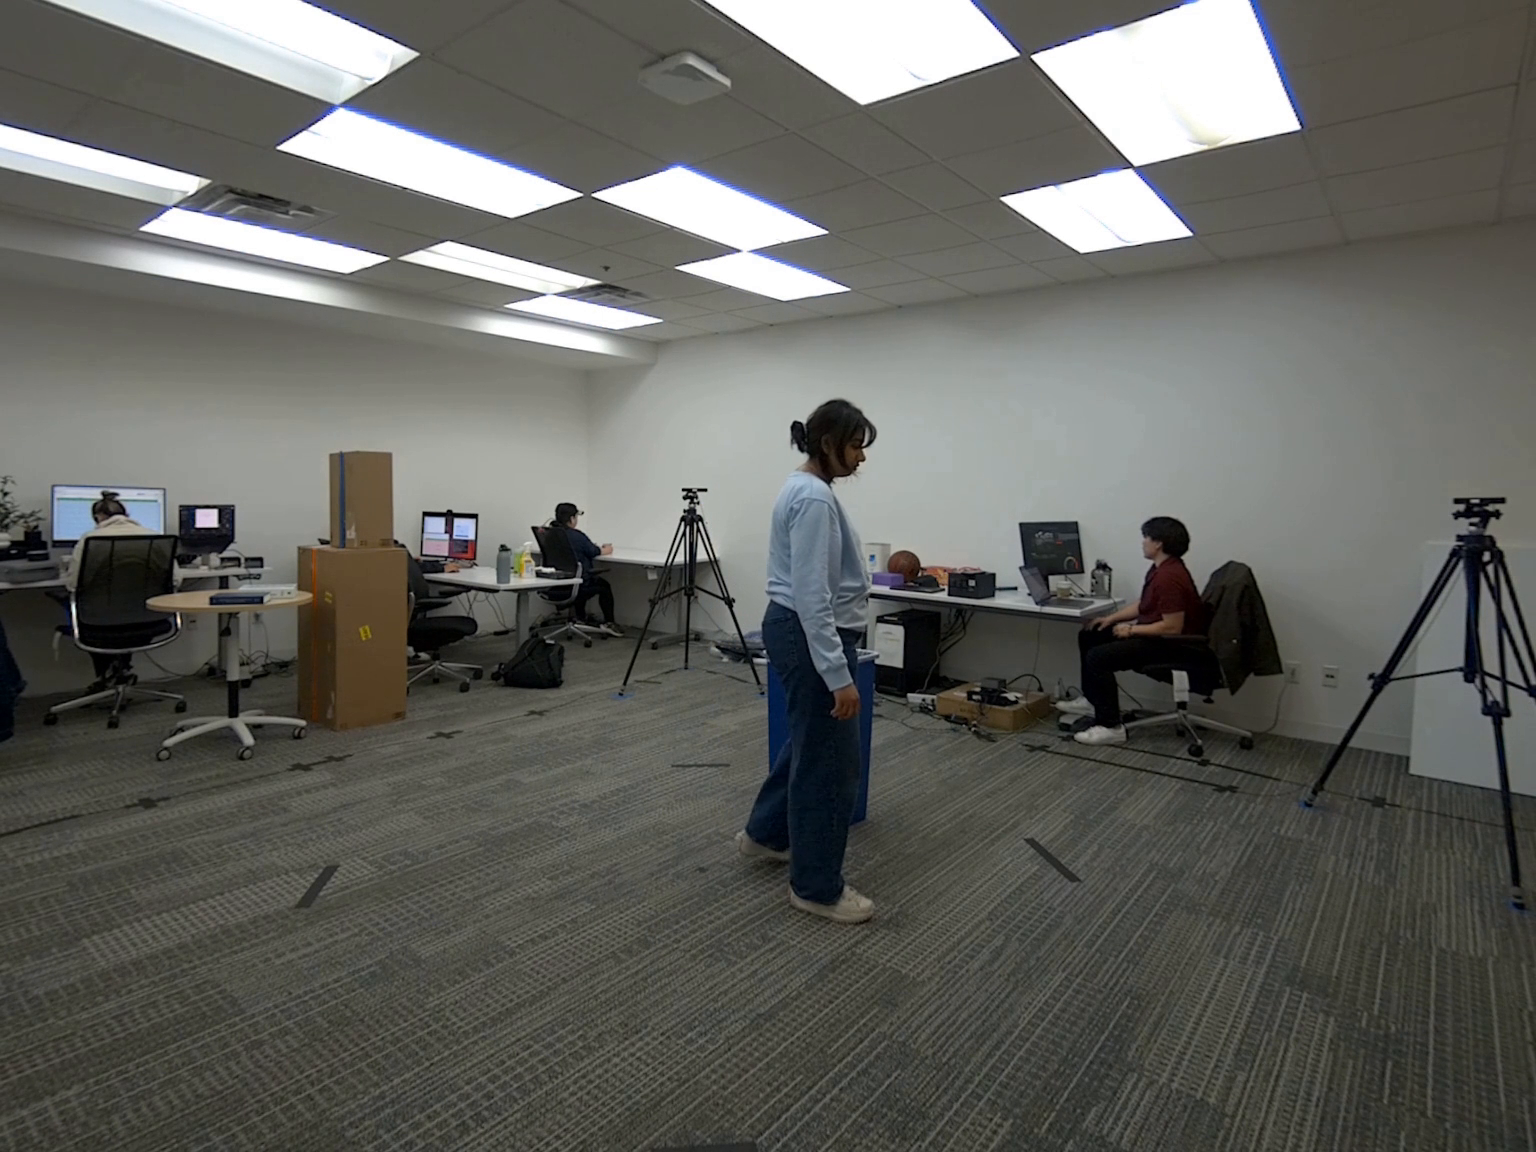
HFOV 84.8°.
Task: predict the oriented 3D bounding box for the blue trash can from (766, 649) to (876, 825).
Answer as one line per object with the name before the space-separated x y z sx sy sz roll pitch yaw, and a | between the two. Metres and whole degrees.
blue trash can | 0.208 0.669 3.607 0.391 0.711 0.363 4 4 43
